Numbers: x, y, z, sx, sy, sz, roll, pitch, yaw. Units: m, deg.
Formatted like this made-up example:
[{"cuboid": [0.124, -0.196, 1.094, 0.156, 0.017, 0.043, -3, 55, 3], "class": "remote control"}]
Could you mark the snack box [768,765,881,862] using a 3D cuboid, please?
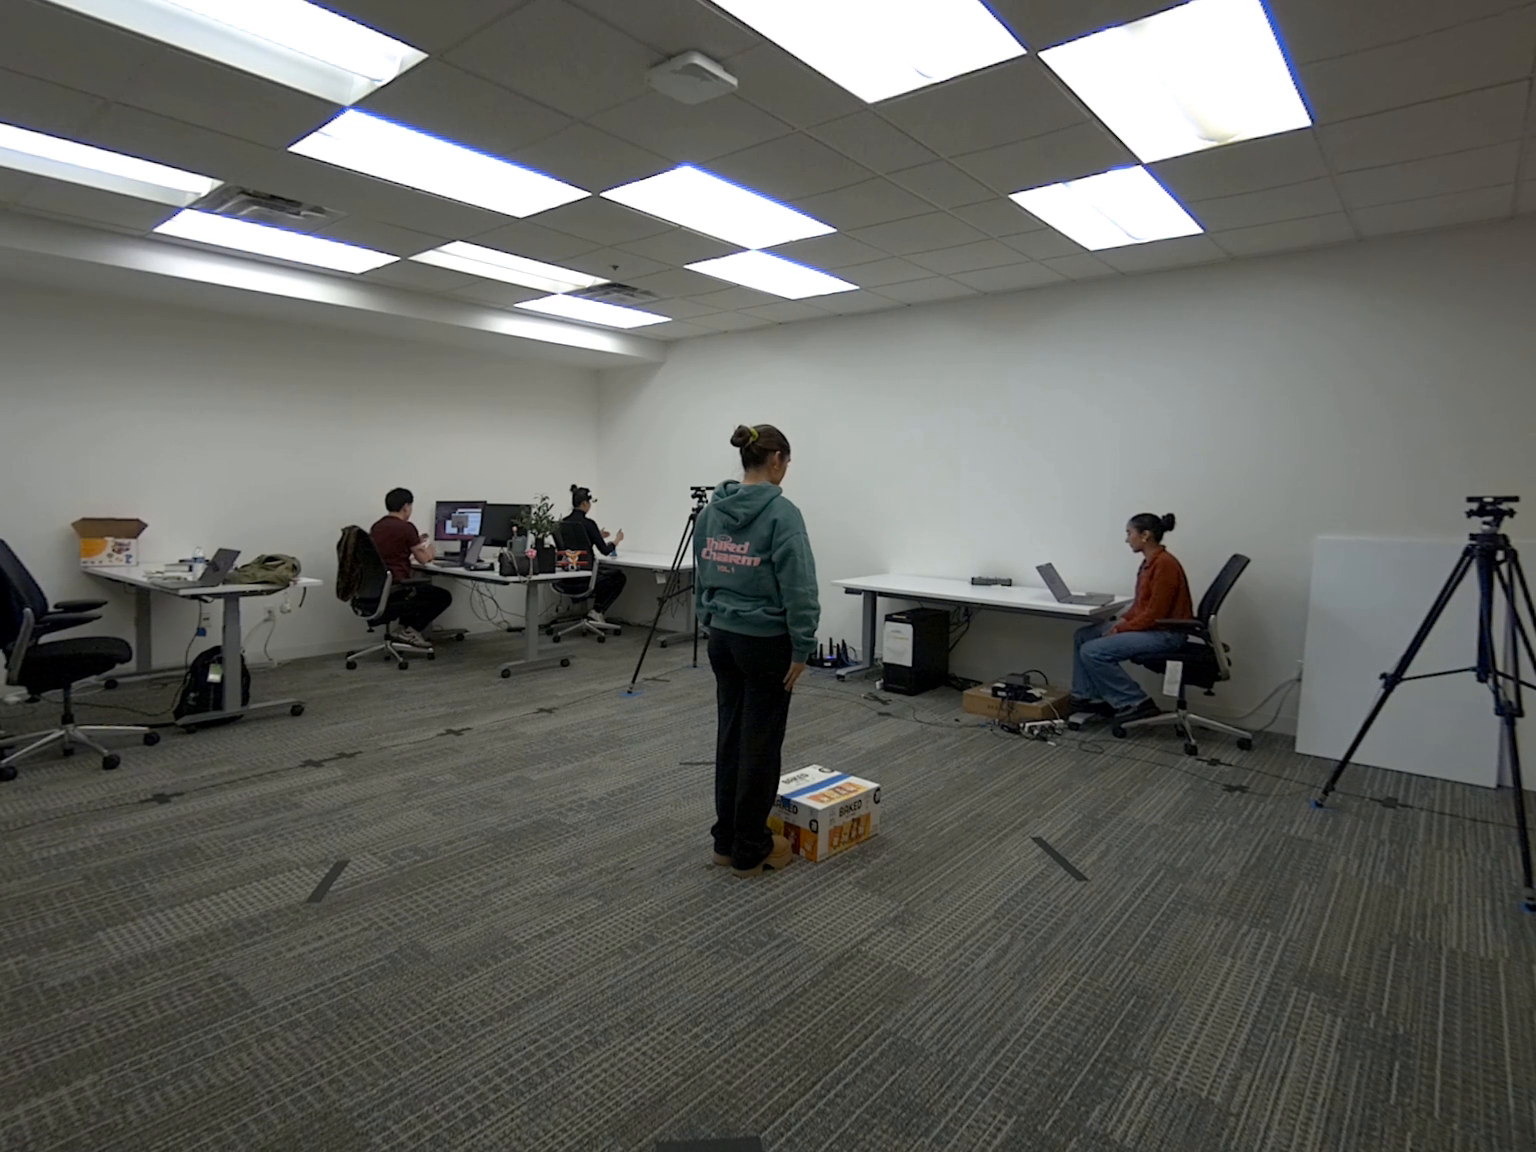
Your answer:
[{"cuboid": [0.190, 0.941, 3.427, 0.352, 0.205, 0.393, 6, 7, 43], "class": "snack box"}]
